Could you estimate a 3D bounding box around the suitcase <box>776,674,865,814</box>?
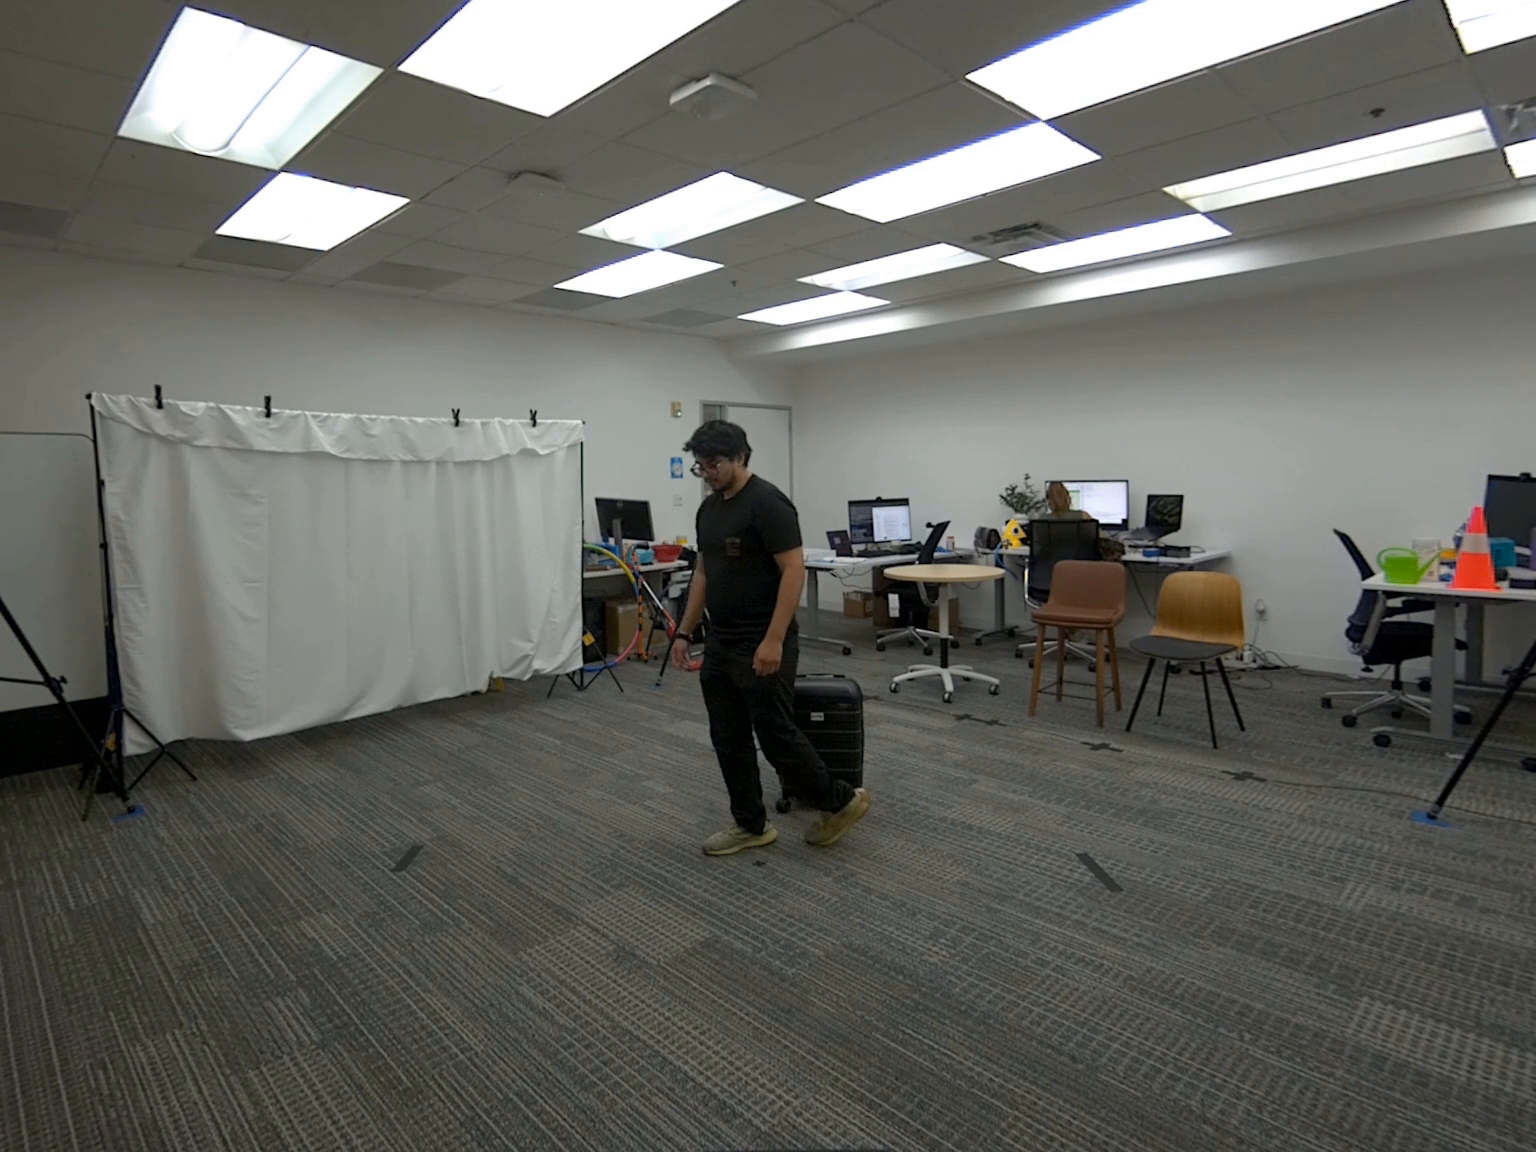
[{"bbox_3d":[0.230,0.703,3.674,0.377,0.547,0.248,0,4,5],"label":"suitcase"}]
